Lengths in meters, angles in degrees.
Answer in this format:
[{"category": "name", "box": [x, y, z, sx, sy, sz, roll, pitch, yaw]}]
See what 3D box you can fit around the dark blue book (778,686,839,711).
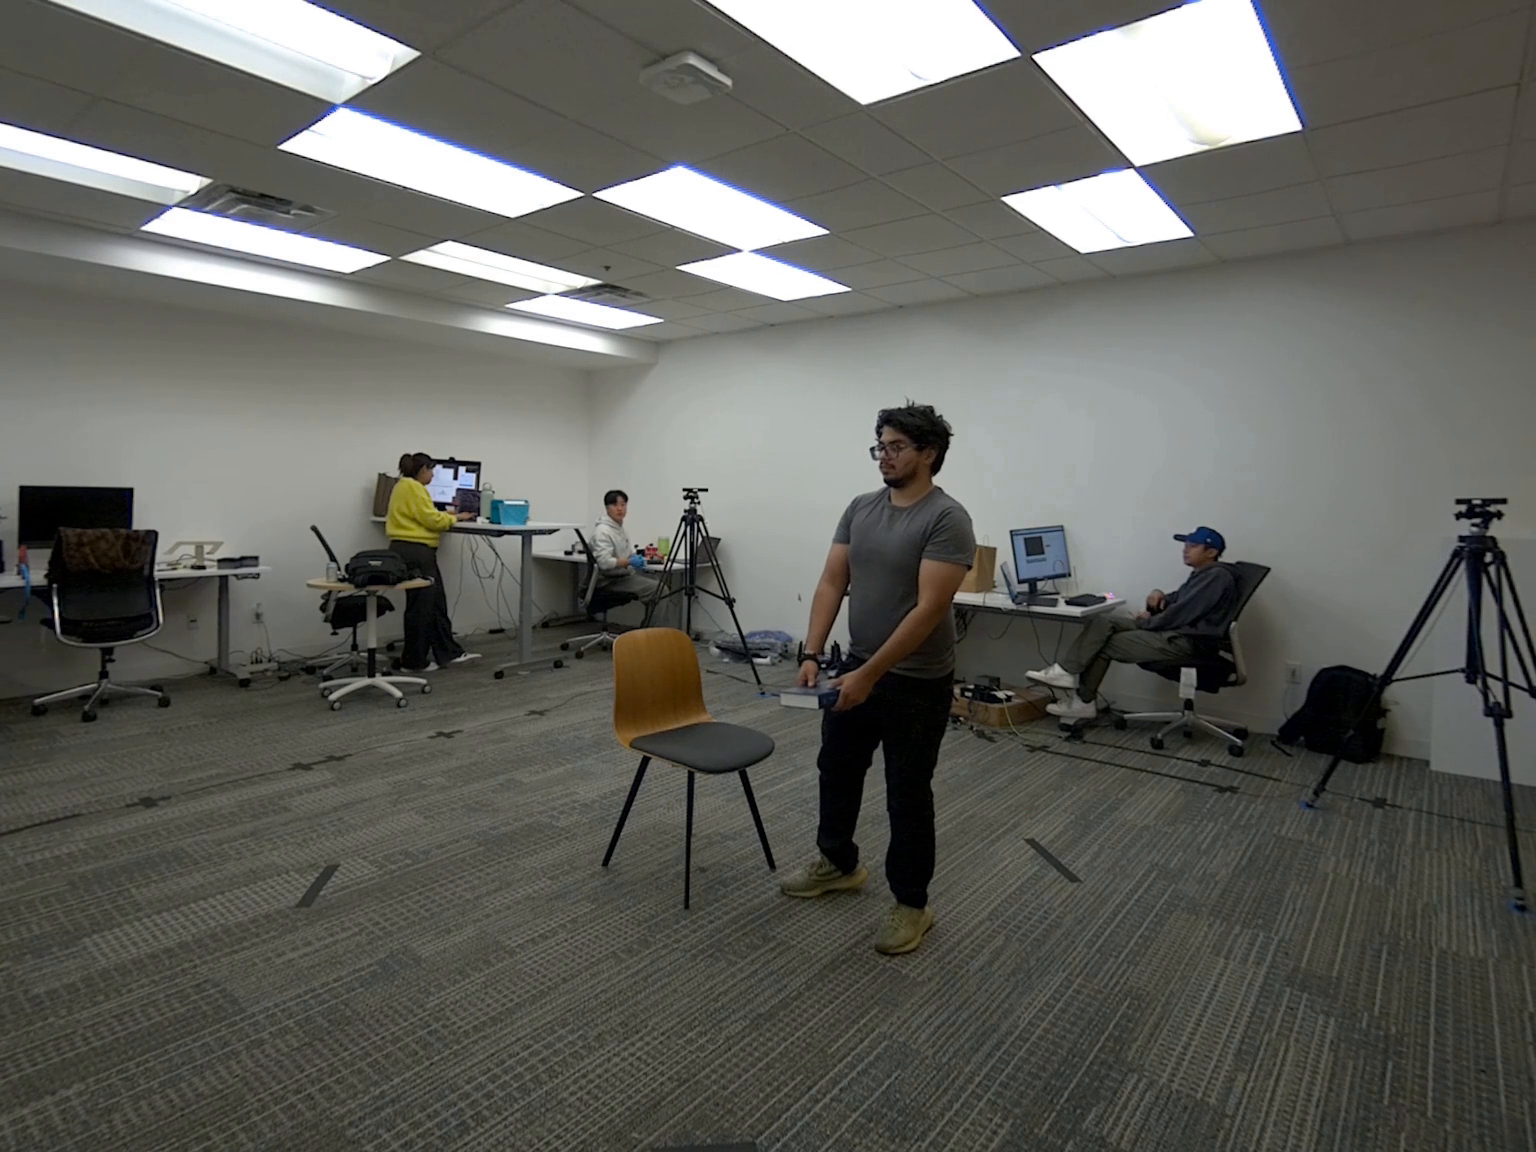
[{"category": "dark blue book", "box": [0.165, 0.345, 2.507, 0.238, 0.045, 0.168, -6, 1, -41]}]
